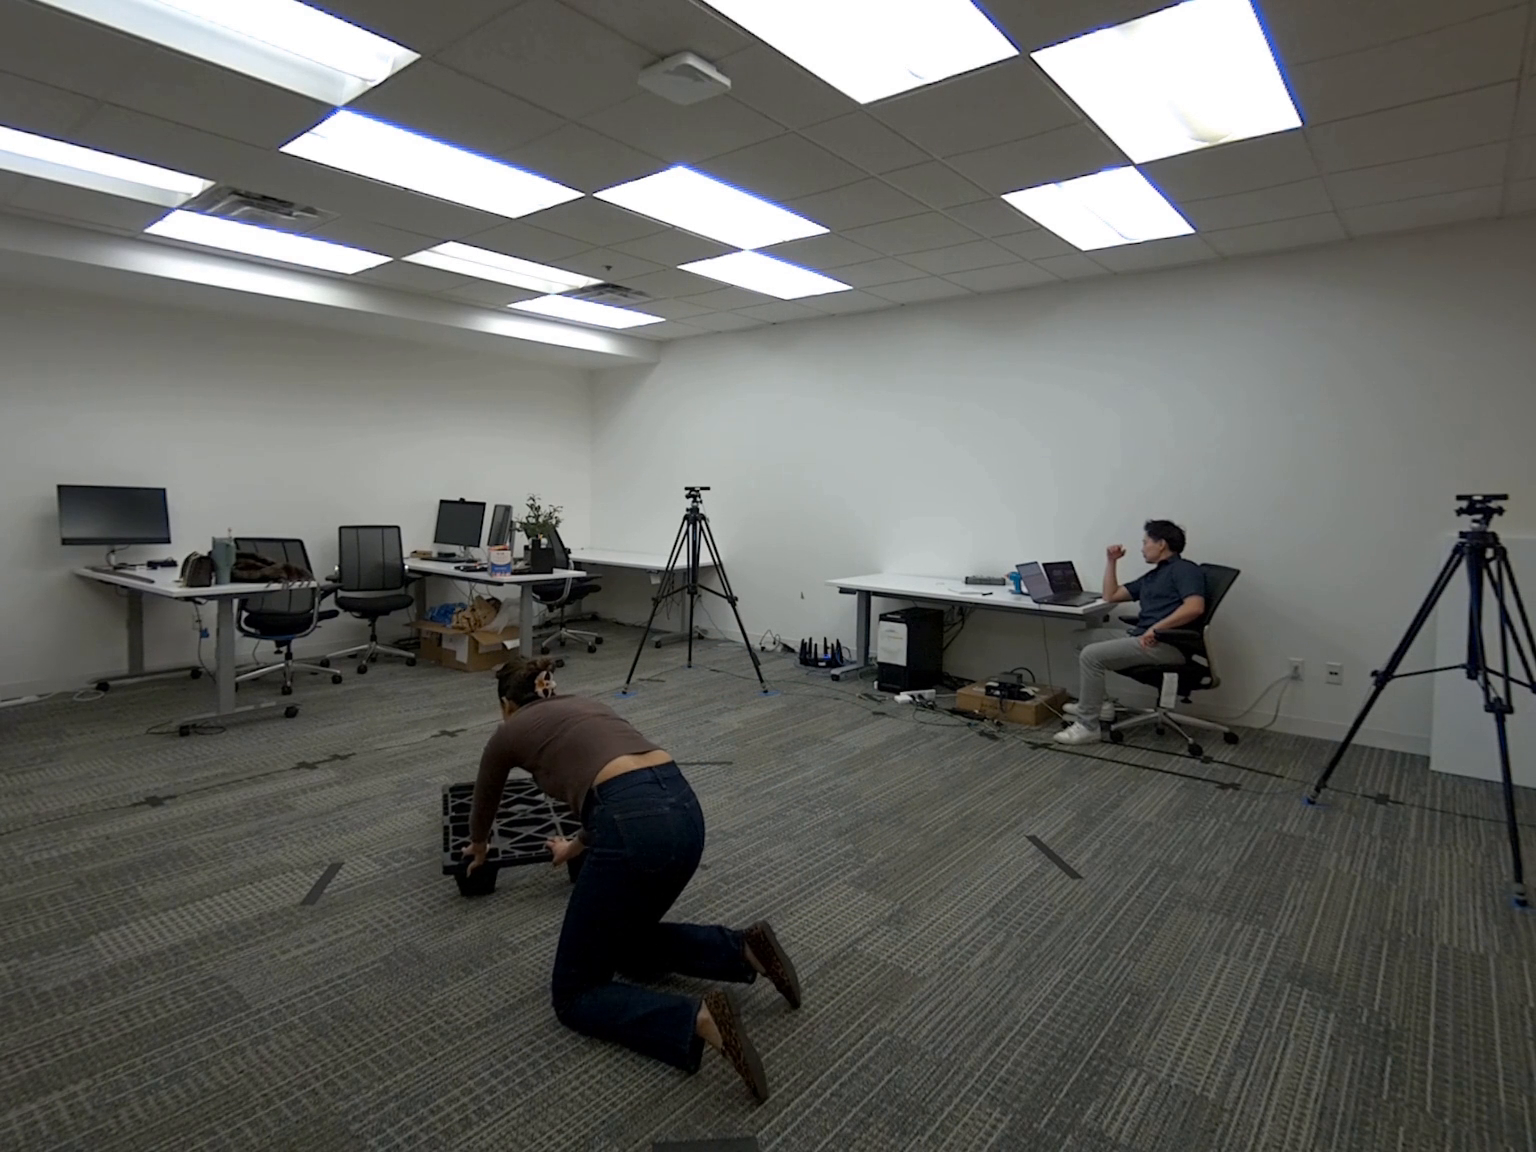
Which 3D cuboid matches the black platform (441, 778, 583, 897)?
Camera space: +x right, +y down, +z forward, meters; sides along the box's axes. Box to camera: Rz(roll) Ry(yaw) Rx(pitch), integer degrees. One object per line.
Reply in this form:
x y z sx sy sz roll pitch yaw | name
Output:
-0.961 0.969 3.271 0.594 0.143 0.824 -3 6 -20 | black platform
